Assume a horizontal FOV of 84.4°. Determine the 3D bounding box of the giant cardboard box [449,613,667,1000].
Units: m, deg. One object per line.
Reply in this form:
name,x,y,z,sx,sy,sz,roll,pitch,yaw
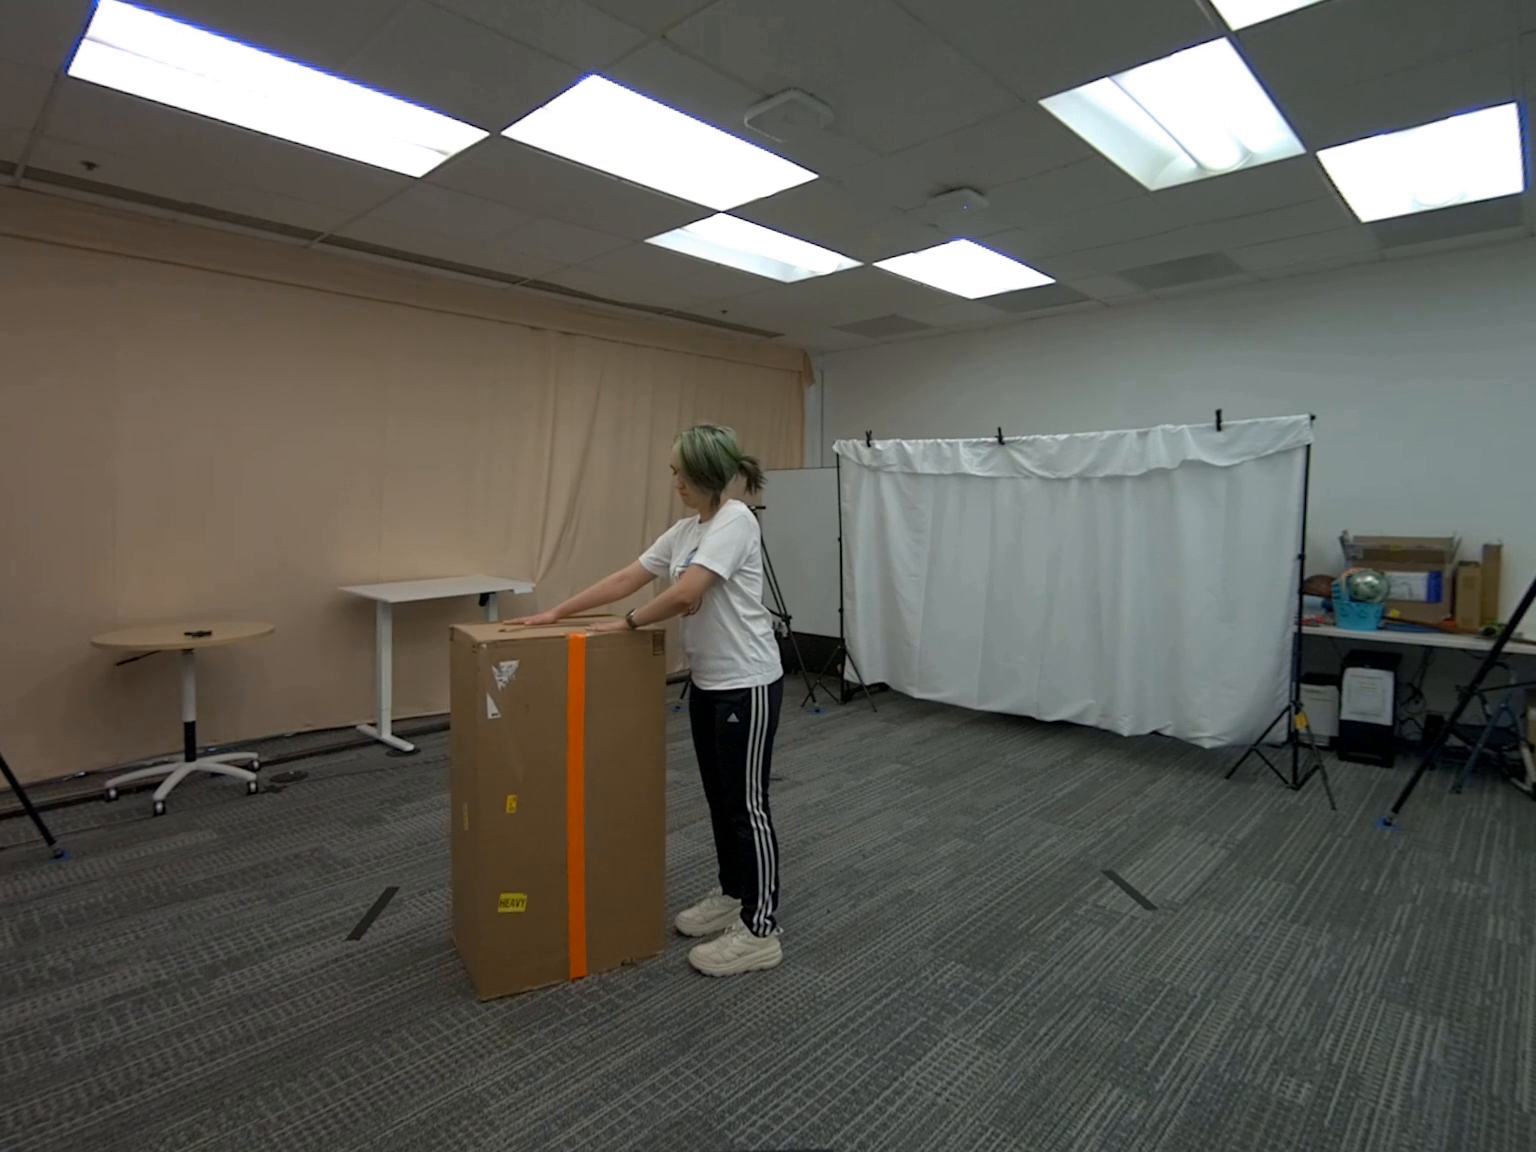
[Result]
giant cardboard box,-0.671,0.673,2.659,0.568,1.026,0.460,-1,2,-30
